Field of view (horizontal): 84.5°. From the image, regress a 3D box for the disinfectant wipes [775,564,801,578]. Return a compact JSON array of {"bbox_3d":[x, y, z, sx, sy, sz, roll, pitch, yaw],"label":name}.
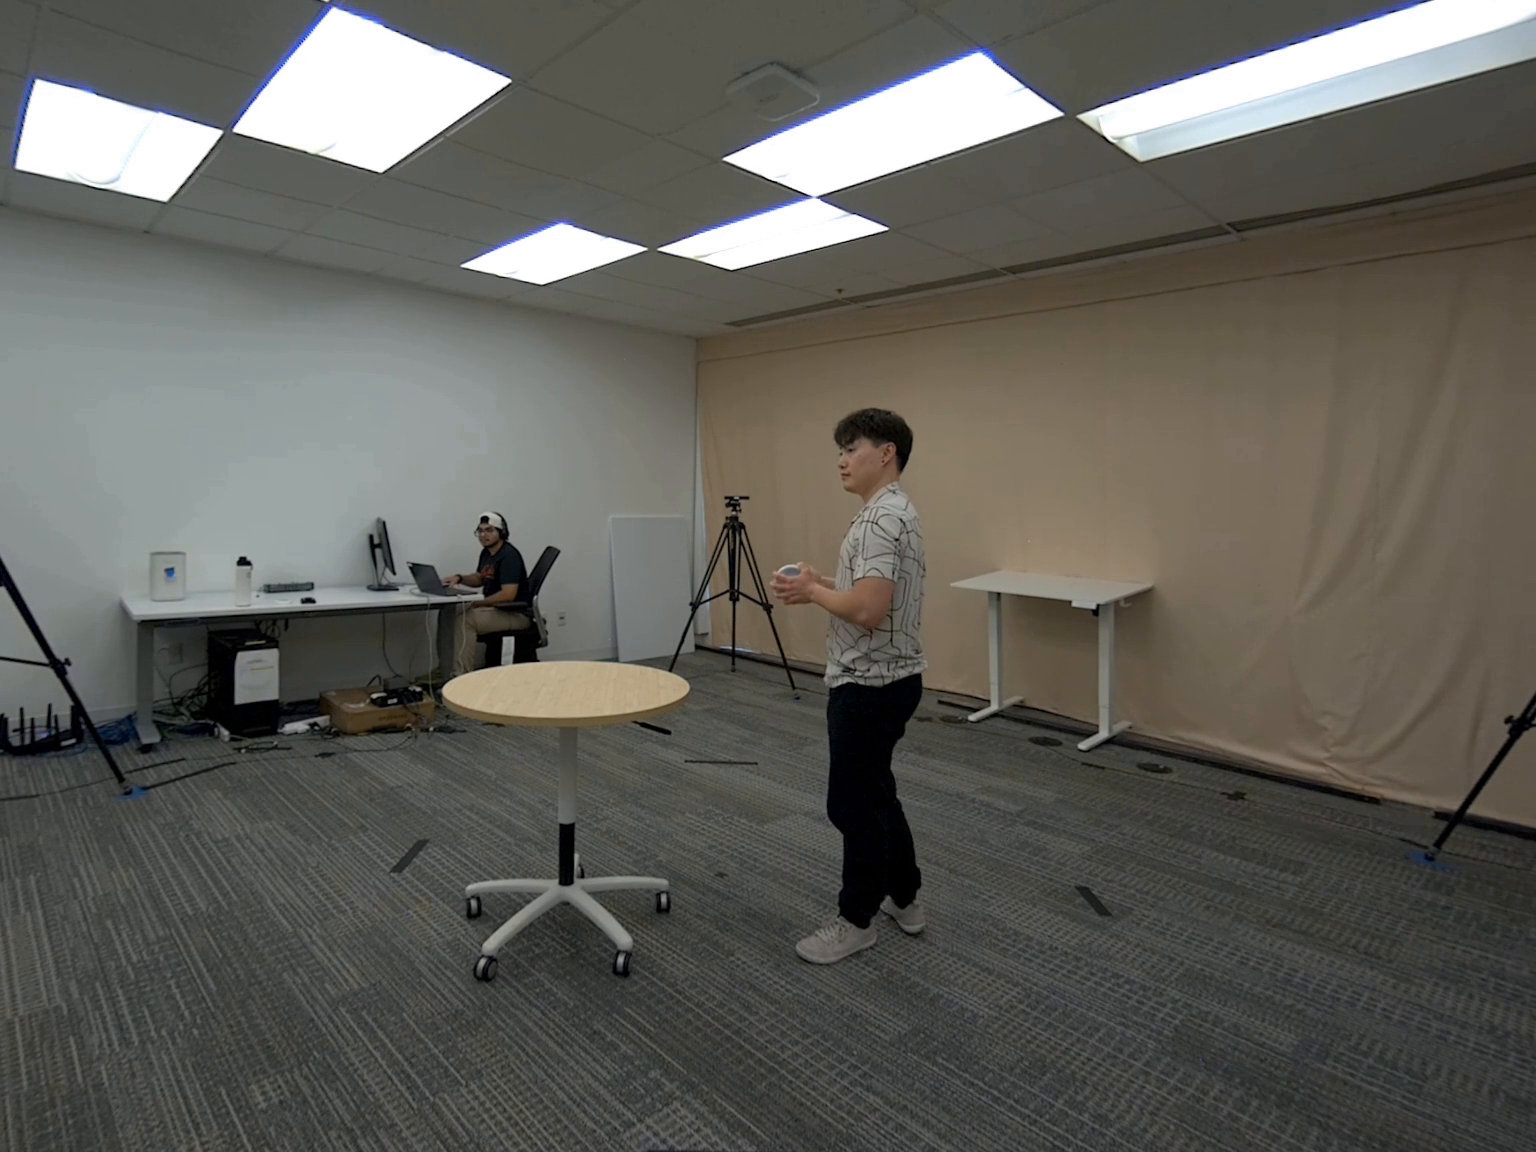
[{"bbox_3d":[0.086,0.025,2.650,0.119,0.118,0.215,2,-2,8],"label":"disinfectant wipes"}]
